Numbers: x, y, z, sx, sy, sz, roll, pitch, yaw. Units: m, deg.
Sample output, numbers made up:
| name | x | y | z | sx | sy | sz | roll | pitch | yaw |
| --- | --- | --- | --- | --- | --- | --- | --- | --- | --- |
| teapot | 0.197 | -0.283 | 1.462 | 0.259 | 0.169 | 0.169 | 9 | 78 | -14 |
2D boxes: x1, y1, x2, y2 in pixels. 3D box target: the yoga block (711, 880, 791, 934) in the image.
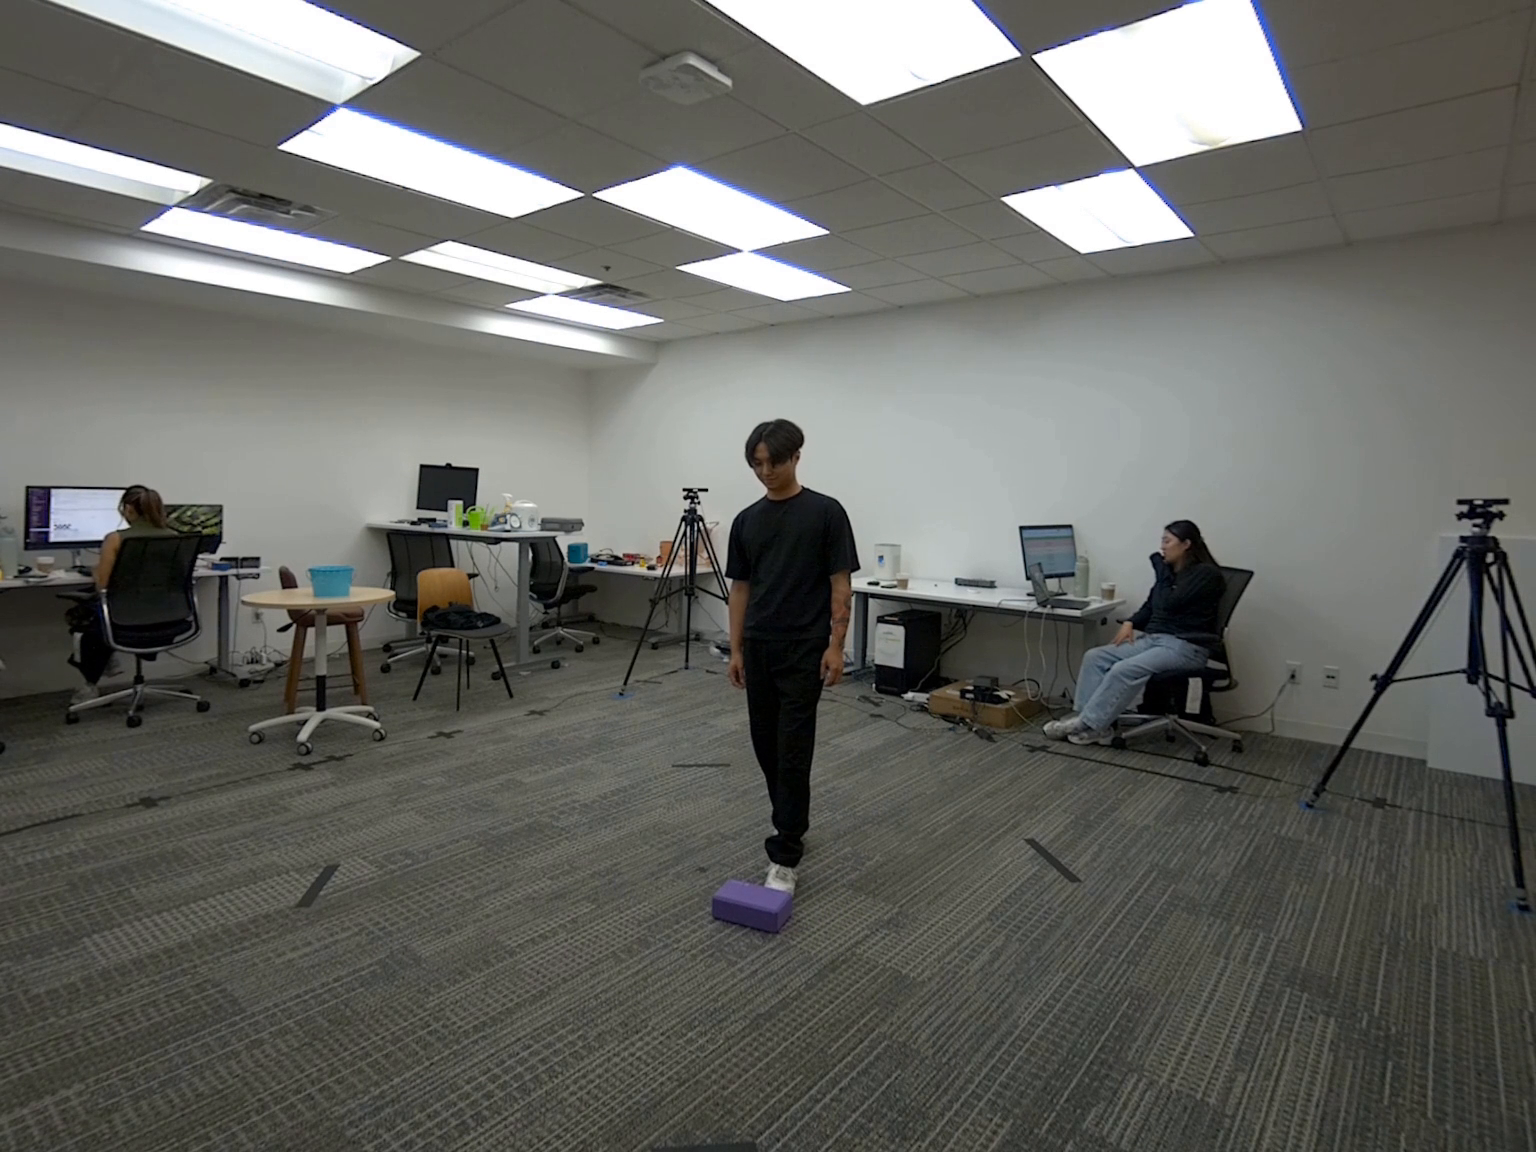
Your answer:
| name | x | y | z | sx | sy | sz | roll | pitch | yaw |
| --- | --- | --- | --- | --- | --- | --- | --- | --- | --- |
| yoga block | -0.058 | 1.062 | 2.765 | 0.235 | 0.076 | 0.146 | 4 | 5 | 23 |
